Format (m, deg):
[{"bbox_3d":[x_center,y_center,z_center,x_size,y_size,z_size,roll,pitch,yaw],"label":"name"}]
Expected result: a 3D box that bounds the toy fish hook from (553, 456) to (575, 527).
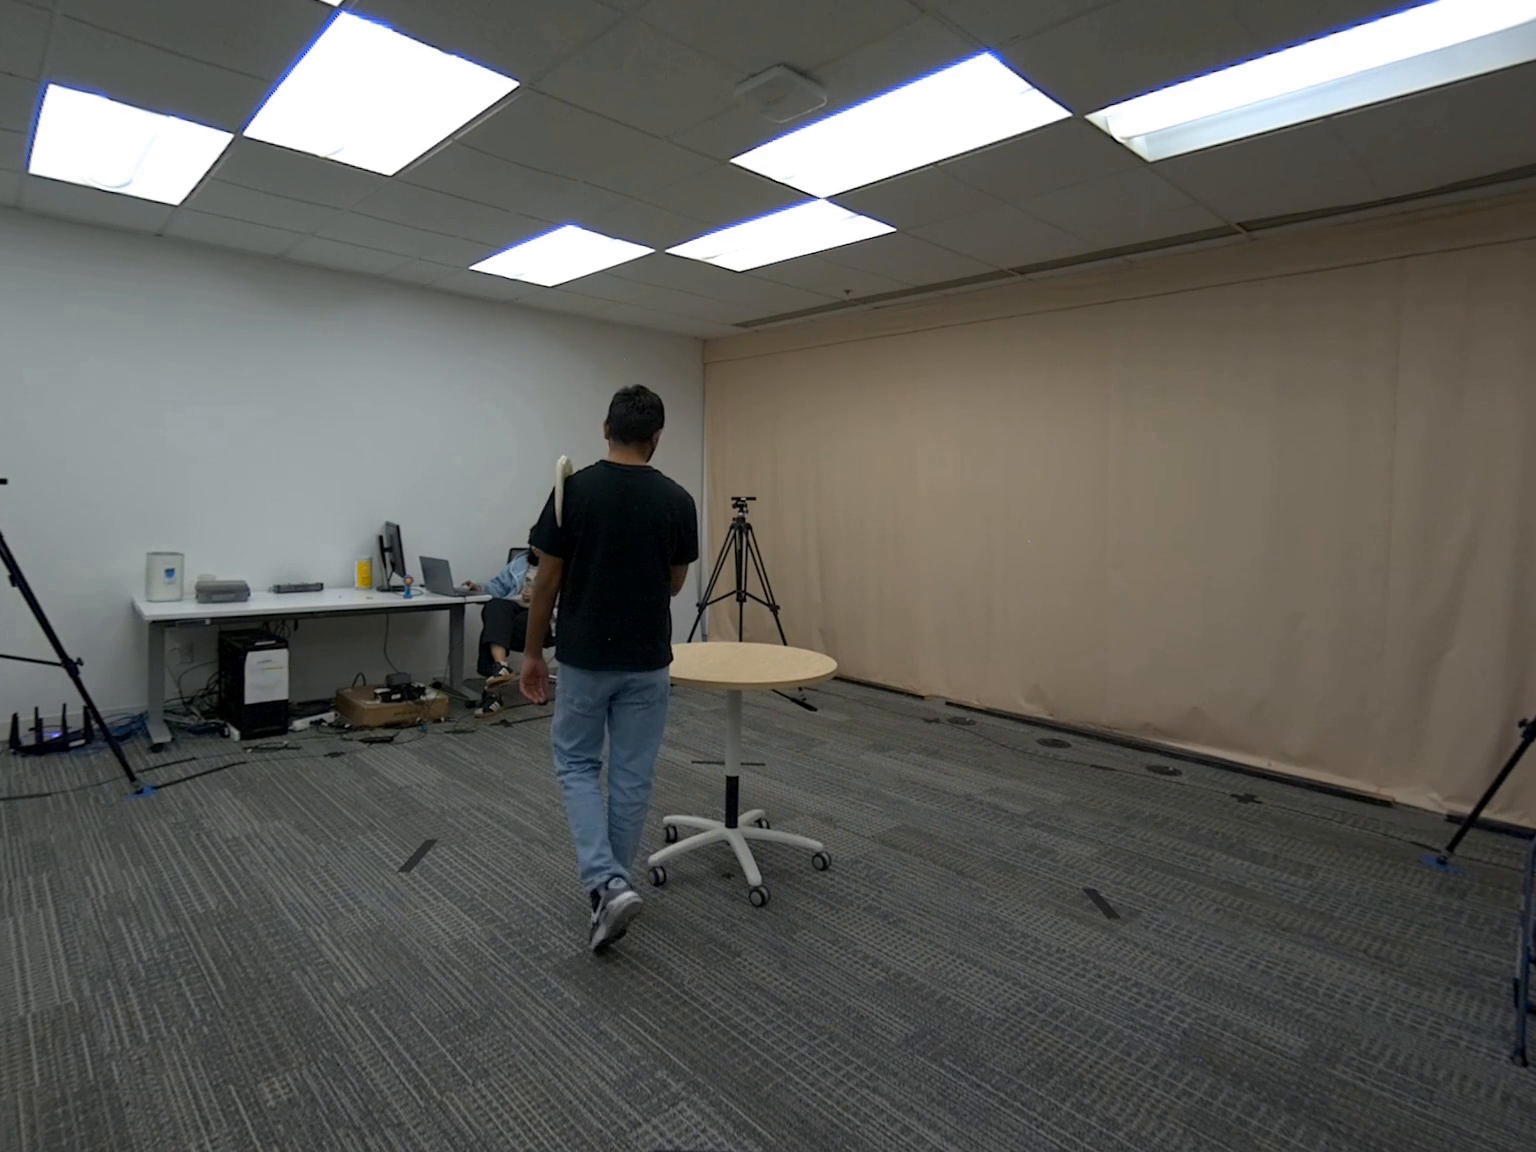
[{"bbox_3d":[-0.645,-0.122,2.630,0.048,0.502,0.227,2,14,-1],"label":"toy fish hook"}]
